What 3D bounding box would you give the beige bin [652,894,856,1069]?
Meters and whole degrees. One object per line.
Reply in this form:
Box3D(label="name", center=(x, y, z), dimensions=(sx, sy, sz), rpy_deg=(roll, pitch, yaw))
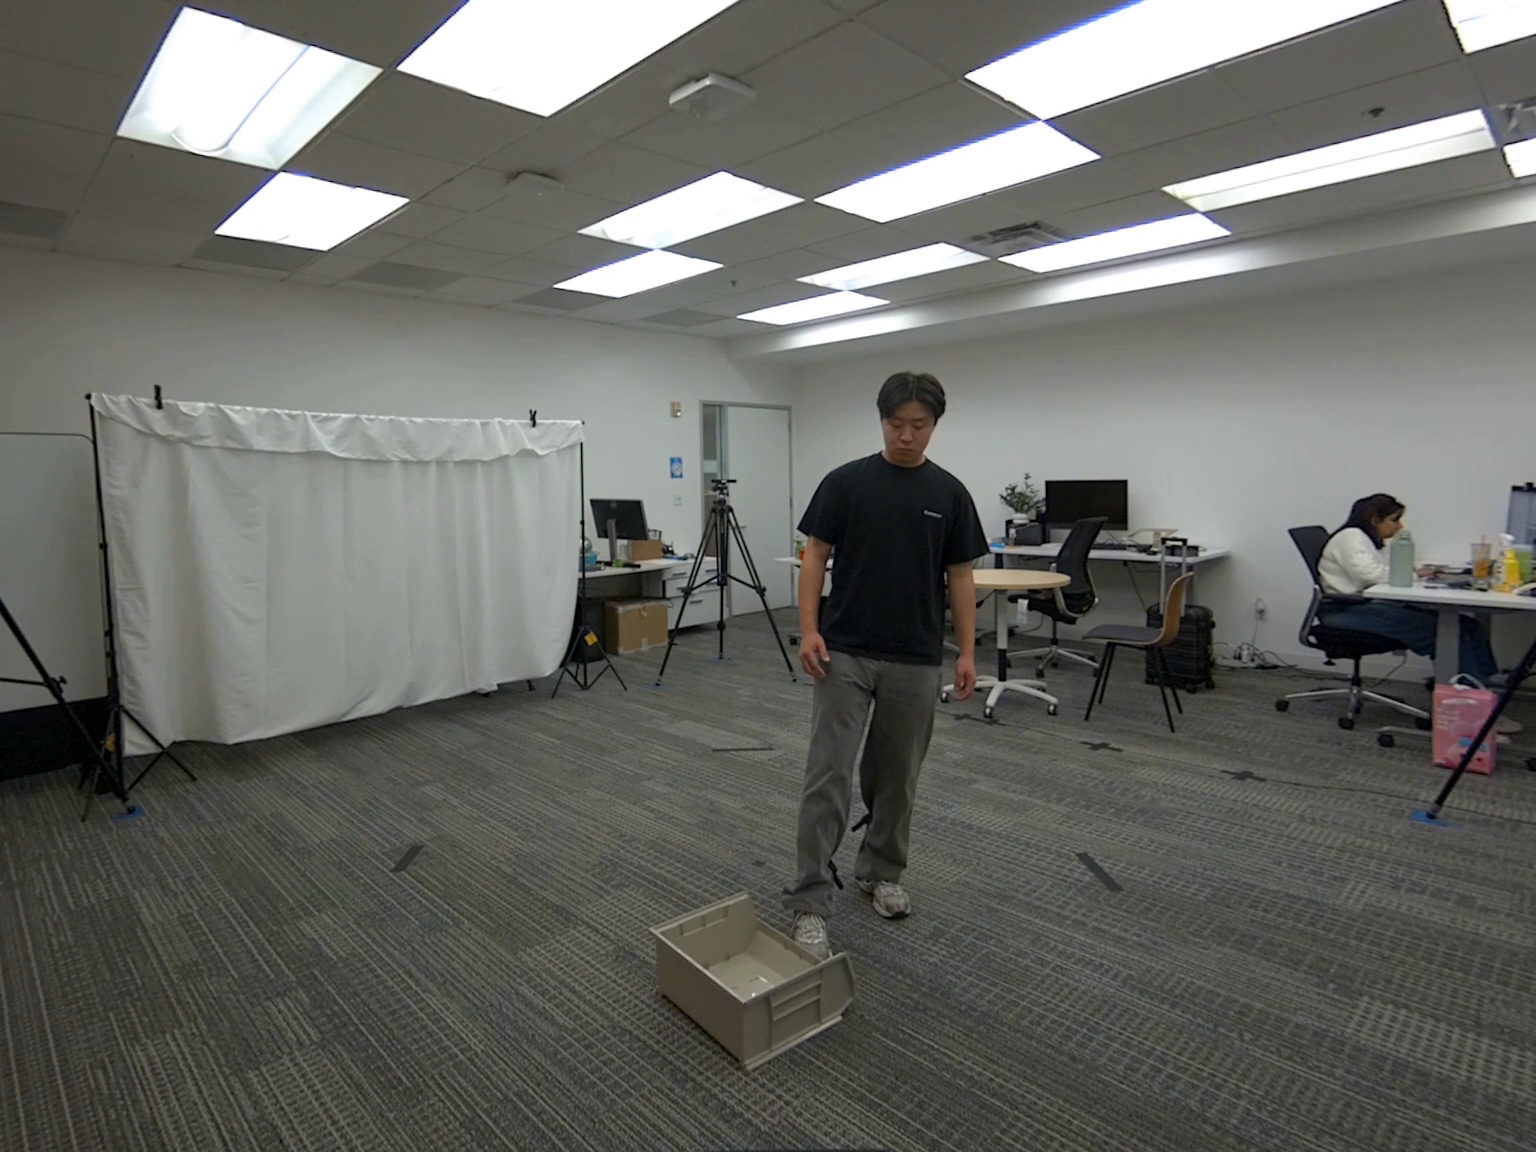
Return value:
Box3D(label="beige bin", center=(-0.039, 1.055, 2.284), dimensions=(0.368, 0.188, 0.435), rpy_deg=(-7, 9, -38))
